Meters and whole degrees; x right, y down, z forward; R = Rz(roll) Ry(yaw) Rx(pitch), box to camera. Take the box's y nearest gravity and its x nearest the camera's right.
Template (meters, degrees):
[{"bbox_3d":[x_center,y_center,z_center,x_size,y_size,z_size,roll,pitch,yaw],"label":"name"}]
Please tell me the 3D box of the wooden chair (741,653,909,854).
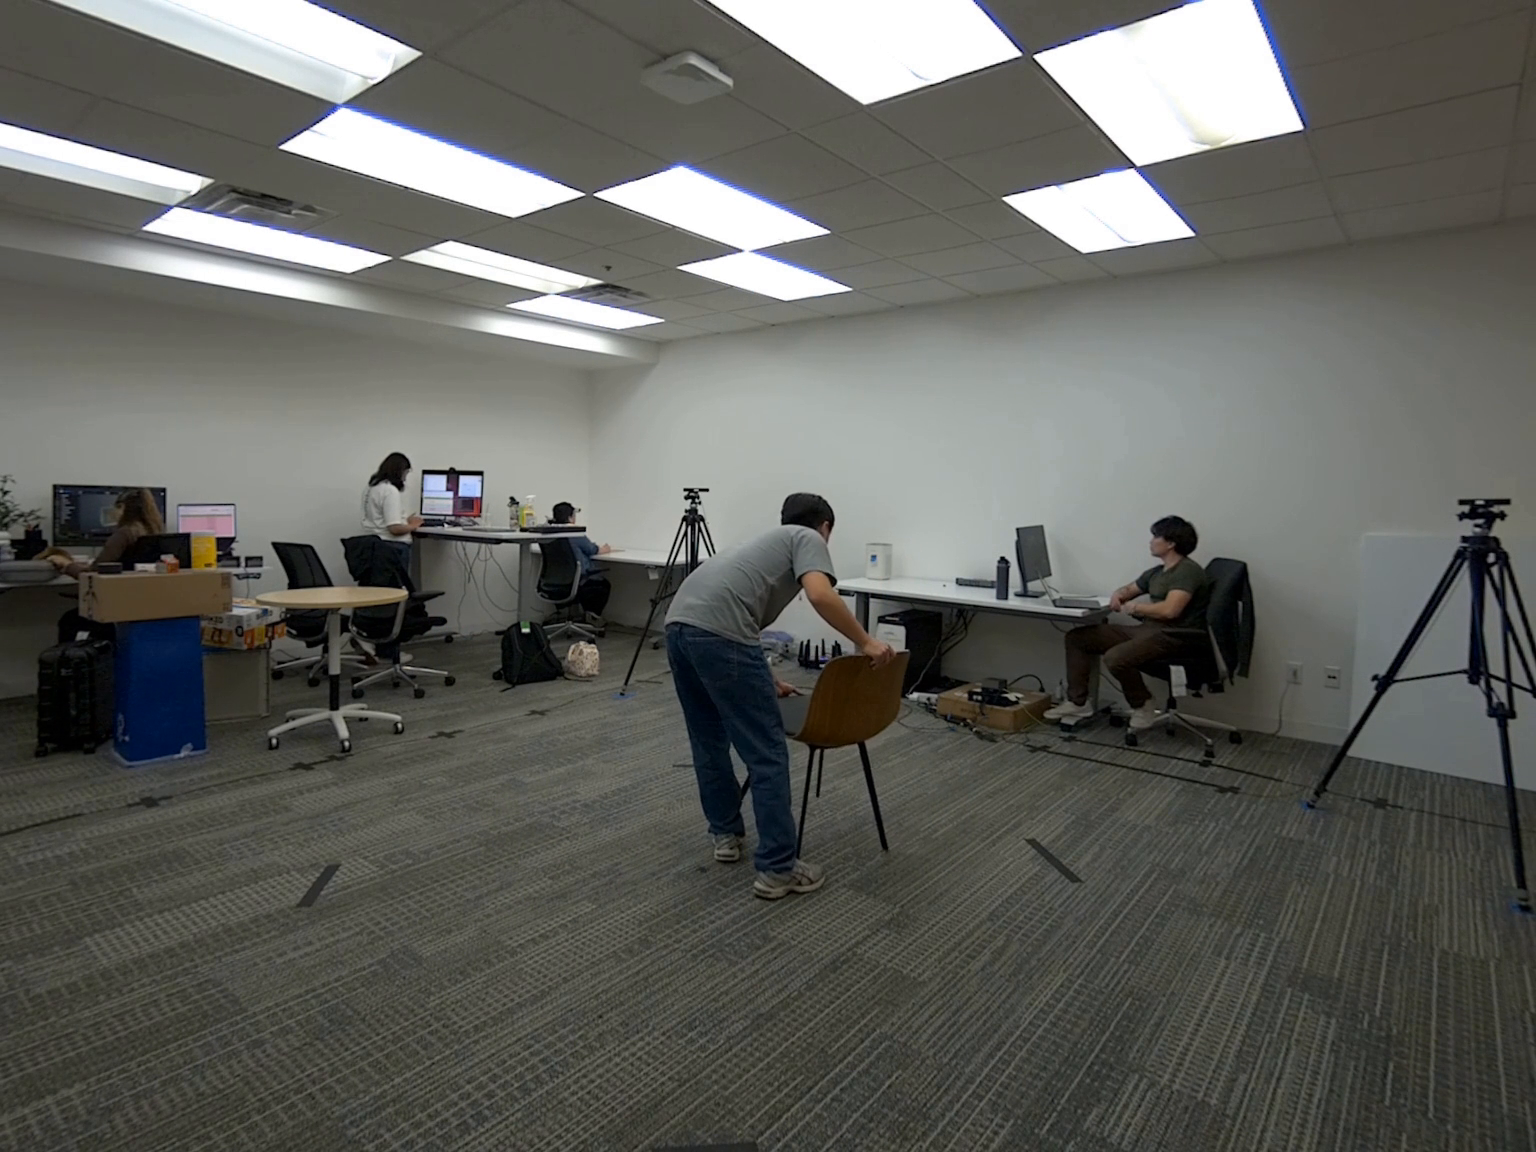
[{"bbox_3d":[0.188,0.594,3.315,0.465,0.867,0.544,-2,18,-32],"label":"wooden chair"}]
